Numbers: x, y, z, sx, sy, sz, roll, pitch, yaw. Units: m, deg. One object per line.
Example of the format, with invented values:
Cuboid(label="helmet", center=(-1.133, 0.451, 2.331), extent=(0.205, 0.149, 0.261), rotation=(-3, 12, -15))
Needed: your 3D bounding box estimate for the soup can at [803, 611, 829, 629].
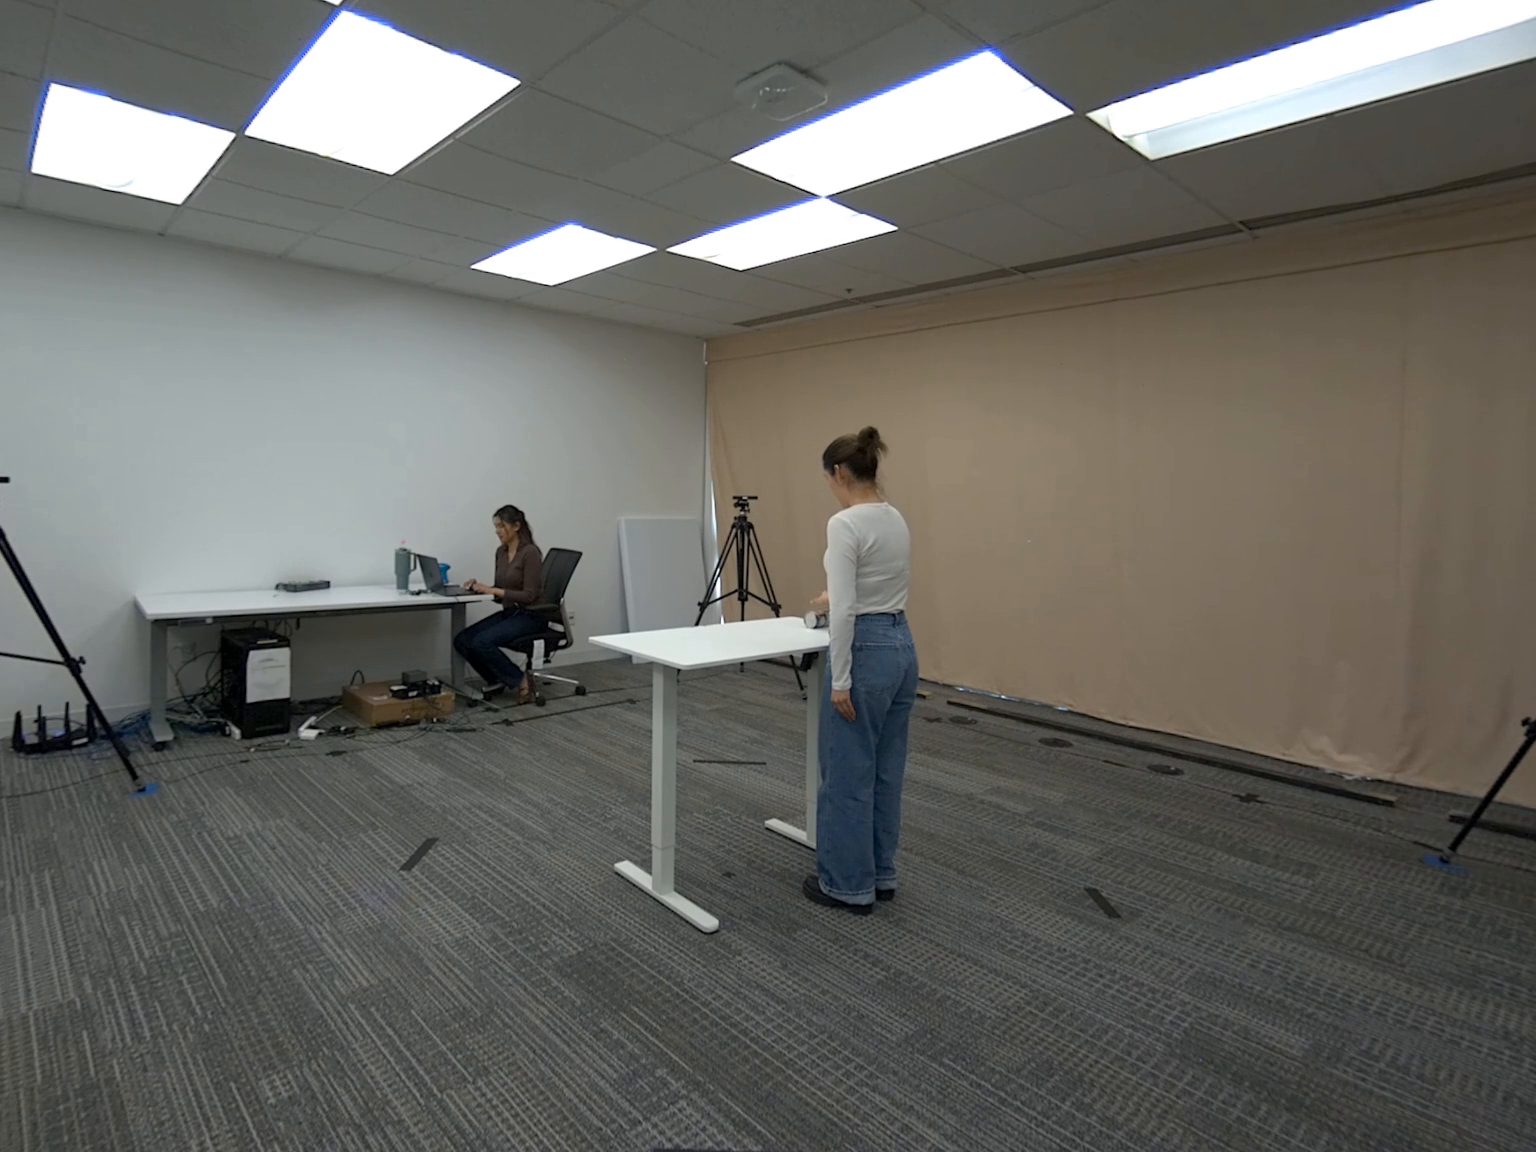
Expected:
Cuboid(label="soup can", center=(0.201, 0.170, 3.354), extent=(0.069, 0.067, 0.119), rotation=(5, 6, 43))
